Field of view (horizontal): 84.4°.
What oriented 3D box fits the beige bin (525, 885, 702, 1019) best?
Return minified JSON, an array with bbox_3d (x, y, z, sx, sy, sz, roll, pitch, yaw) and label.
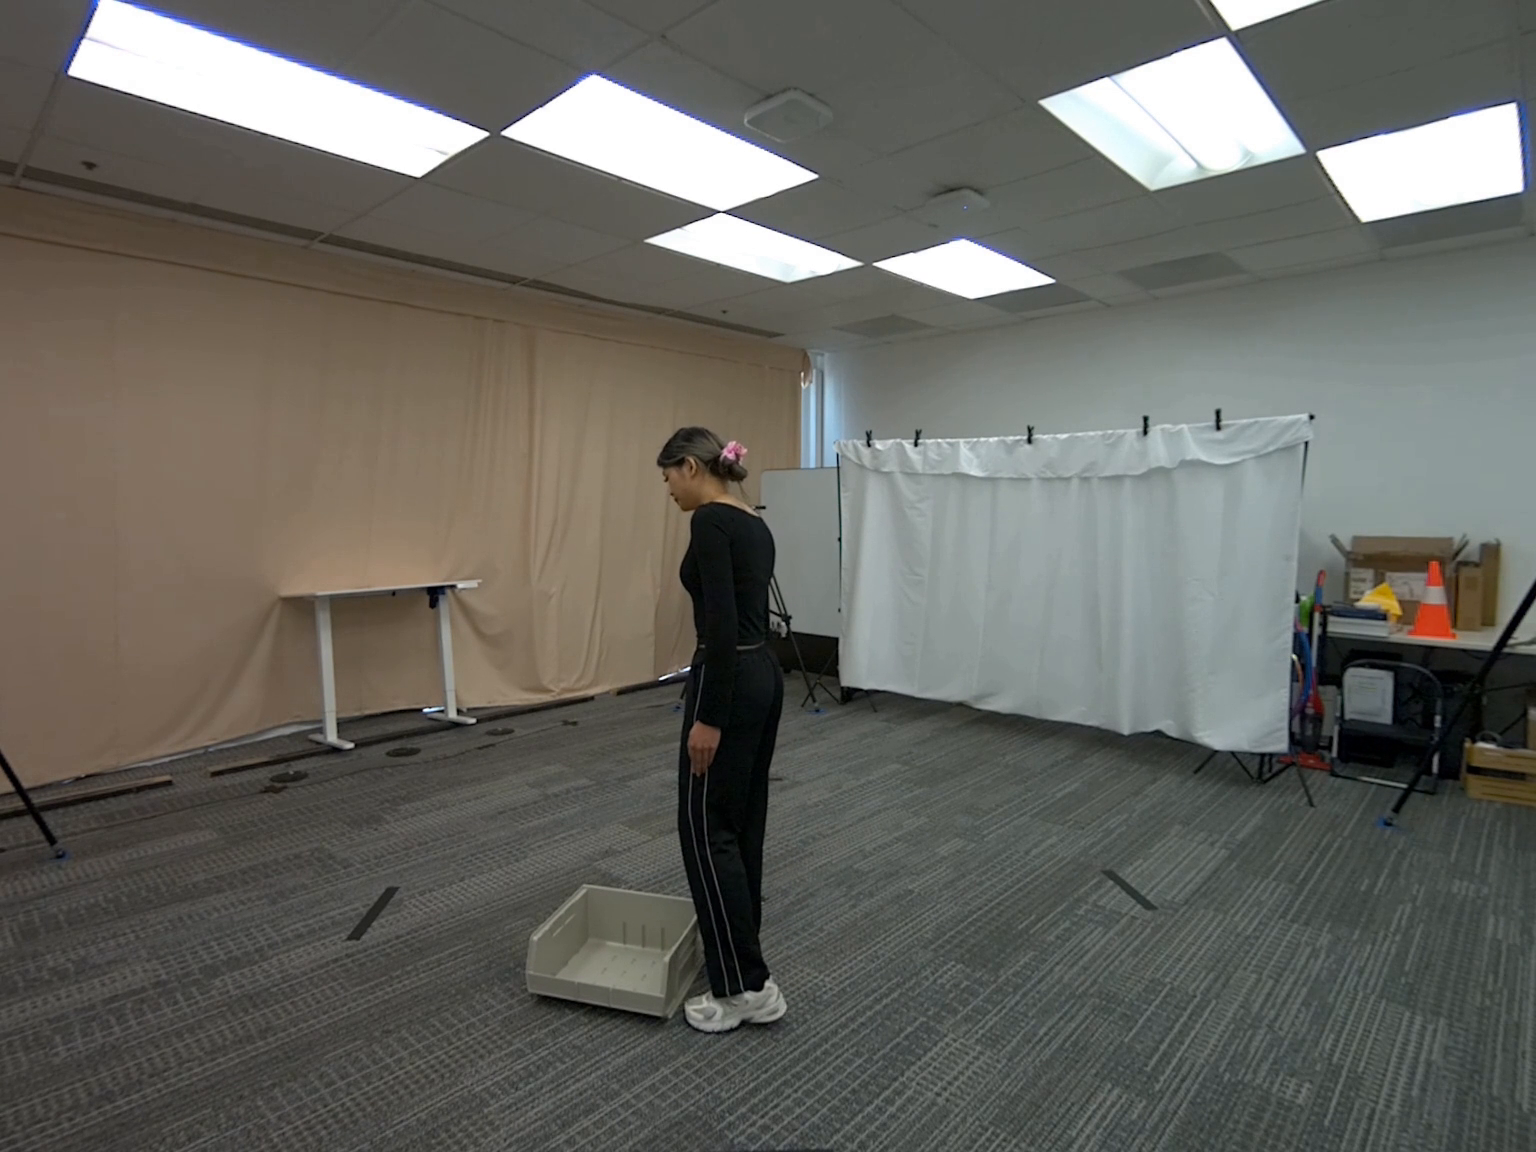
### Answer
[{"bbox_3d":[-0.429,1.102,2.467,0.430,0.189,0.371,1,3,16],"label":"beige bin"}]
